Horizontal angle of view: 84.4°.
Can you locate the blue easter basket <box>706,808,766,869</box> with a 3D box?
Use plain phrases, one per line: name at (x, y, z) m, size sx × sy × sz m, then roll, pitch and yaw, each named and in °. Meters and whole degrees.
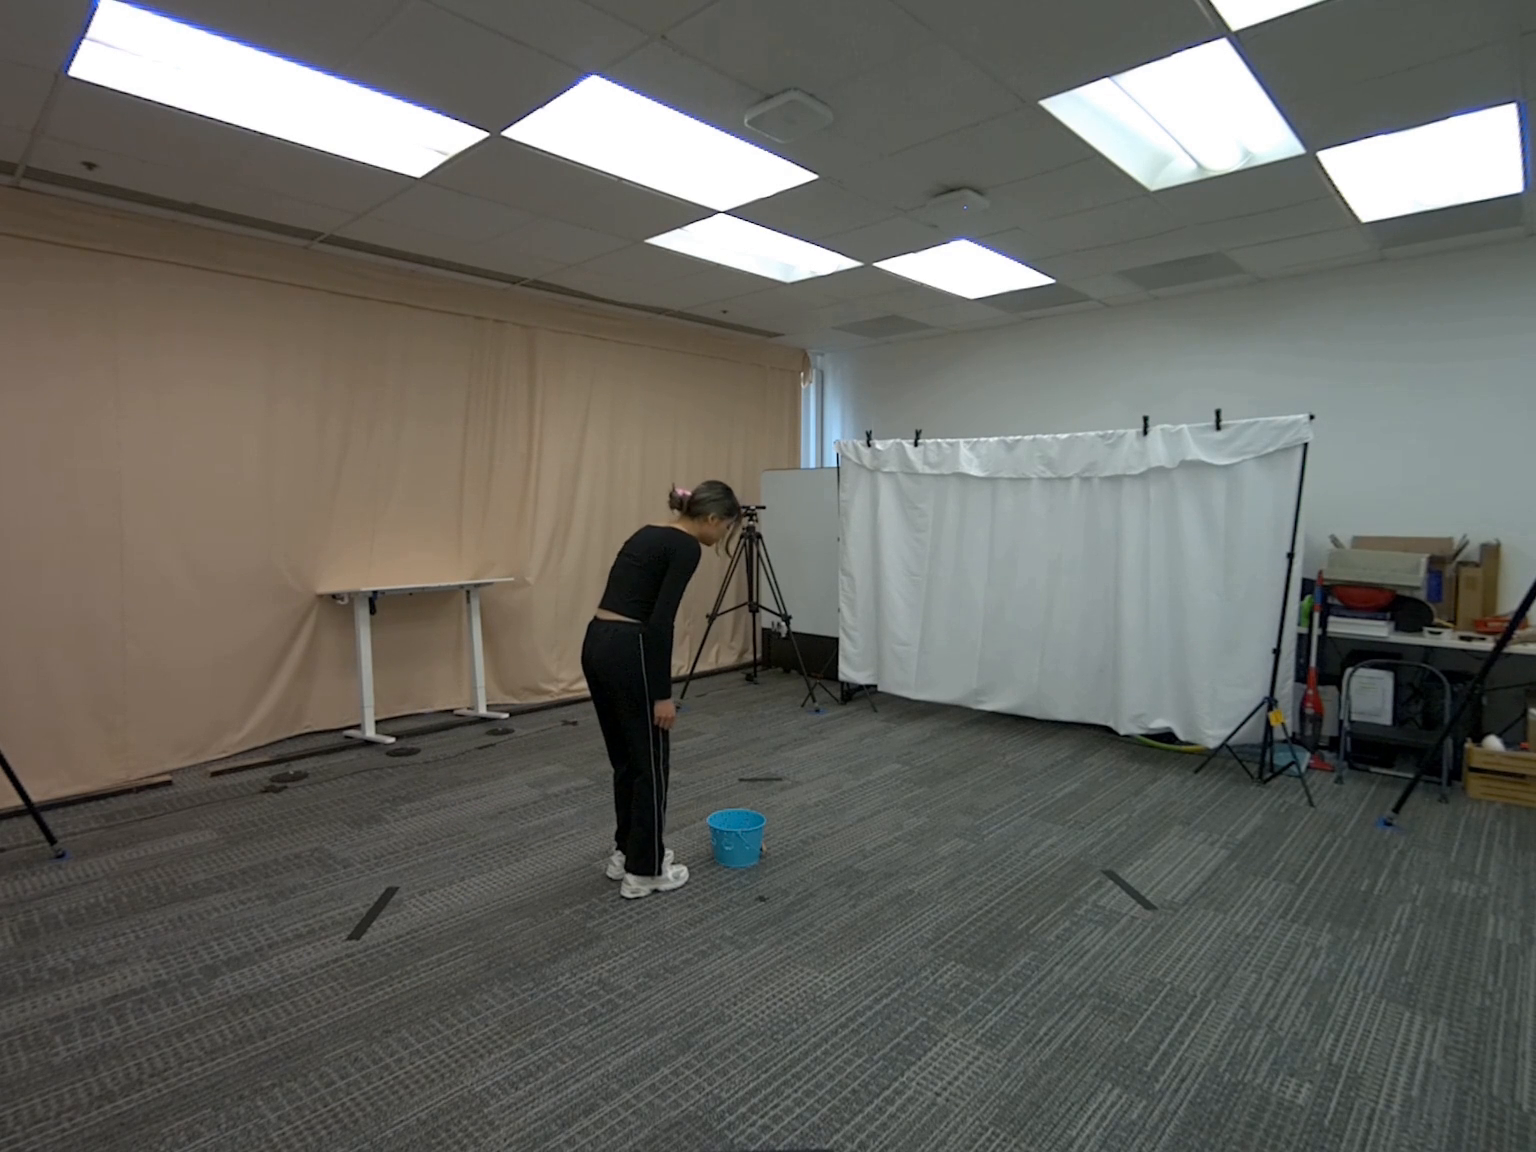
blue easter basket at (-0.119, 1.036, 3.324) m, size 0.243 × 0.155 × 0.244 m, roll 0°, pitch 4°, yaw -2°
